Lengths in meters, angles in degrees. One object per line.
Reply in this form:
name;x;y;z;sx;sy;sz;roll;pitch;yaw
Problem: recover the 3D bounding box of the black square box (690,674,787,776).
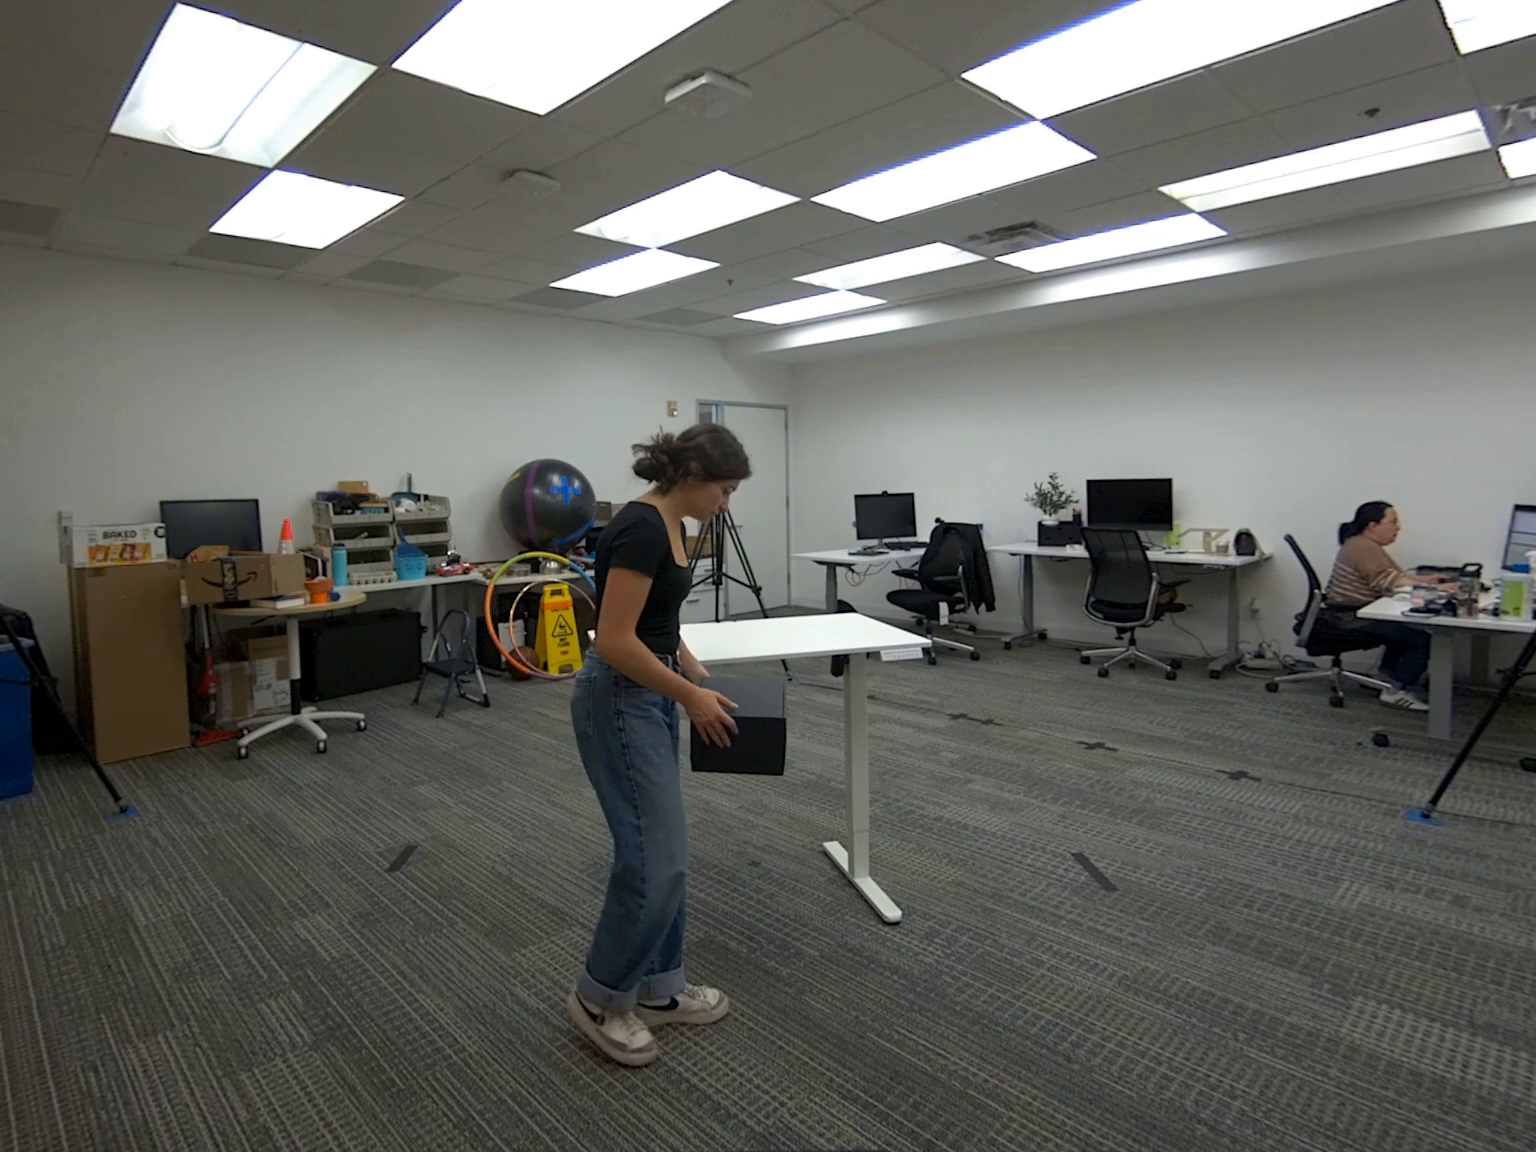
black square box;-0.080;0.376;2.144;0.228;0.154;0.220;0;16;-1
